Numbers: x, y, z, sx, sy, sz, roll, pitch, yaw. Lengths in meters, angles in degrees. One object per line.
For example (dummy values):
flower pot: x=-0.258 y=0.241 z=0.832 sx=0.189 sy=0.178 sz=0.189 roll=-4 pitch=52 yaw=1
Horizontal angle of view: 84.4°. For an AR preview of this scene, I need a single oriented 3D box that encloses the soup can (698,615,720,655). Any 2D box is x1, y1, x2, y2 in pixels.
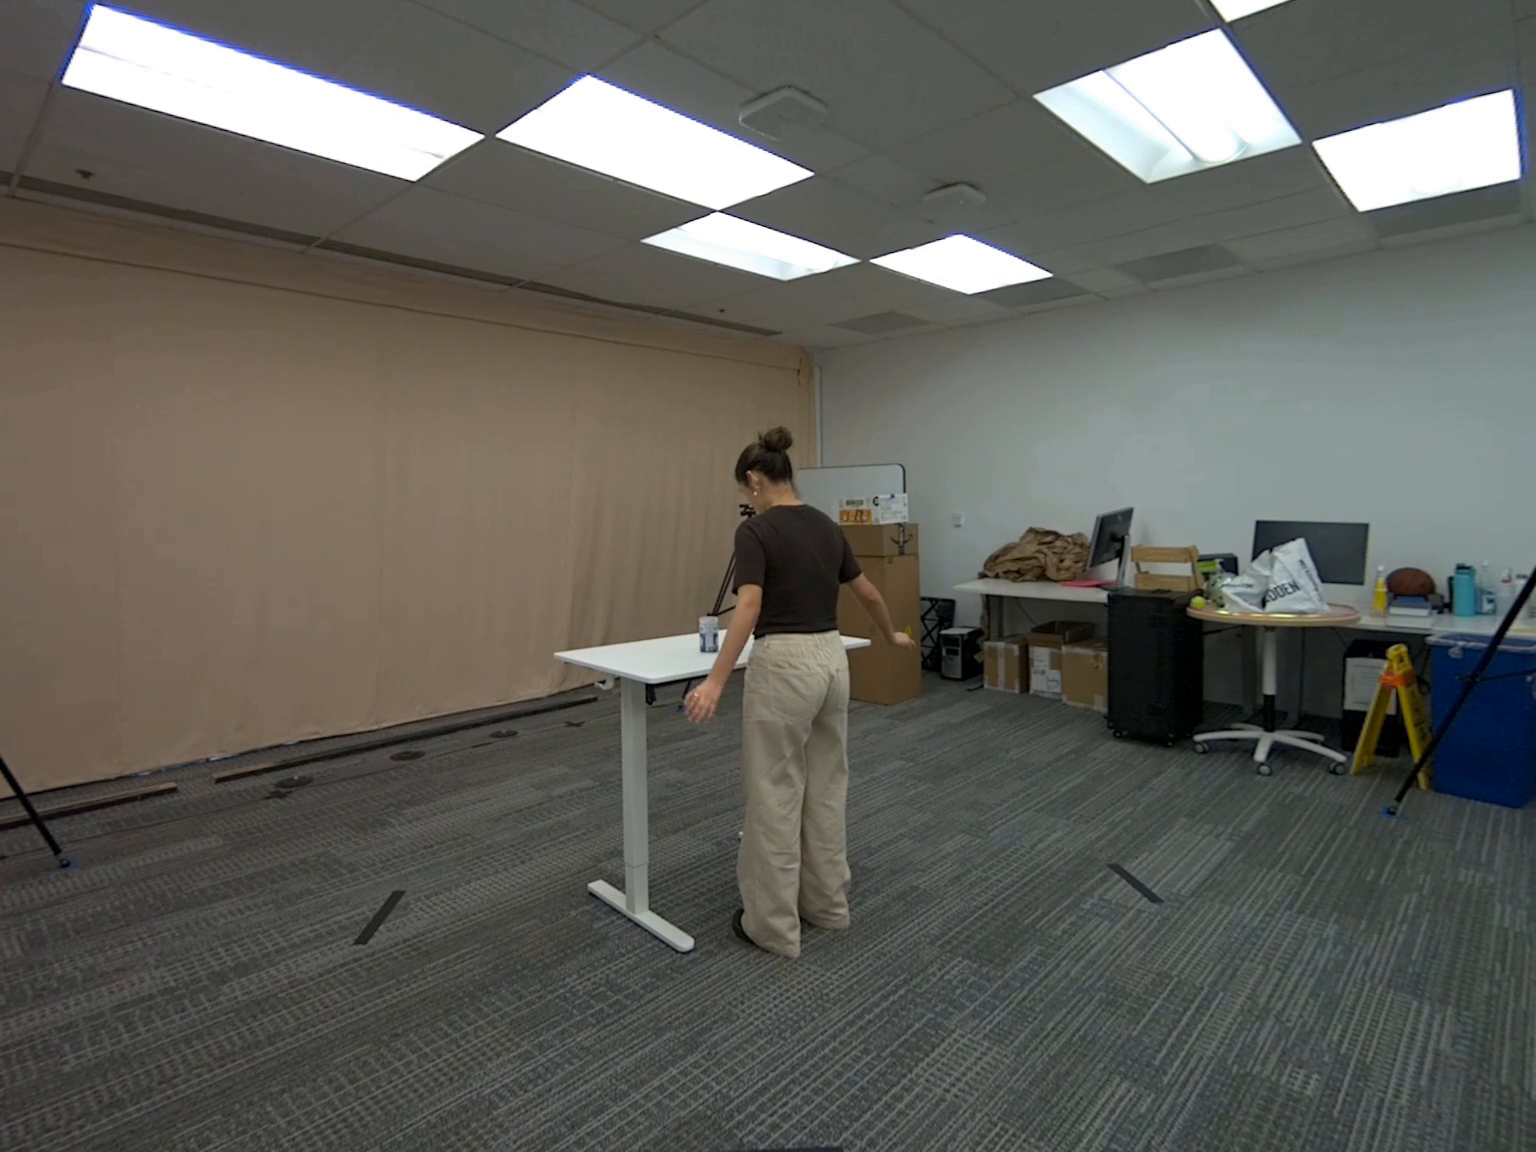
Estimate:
soup can: x=-0.200 y=0.207 z=2.935 sx=0.067 sy=0.121 sz=0.067 roll=0 pitch=6 yaw=-2
